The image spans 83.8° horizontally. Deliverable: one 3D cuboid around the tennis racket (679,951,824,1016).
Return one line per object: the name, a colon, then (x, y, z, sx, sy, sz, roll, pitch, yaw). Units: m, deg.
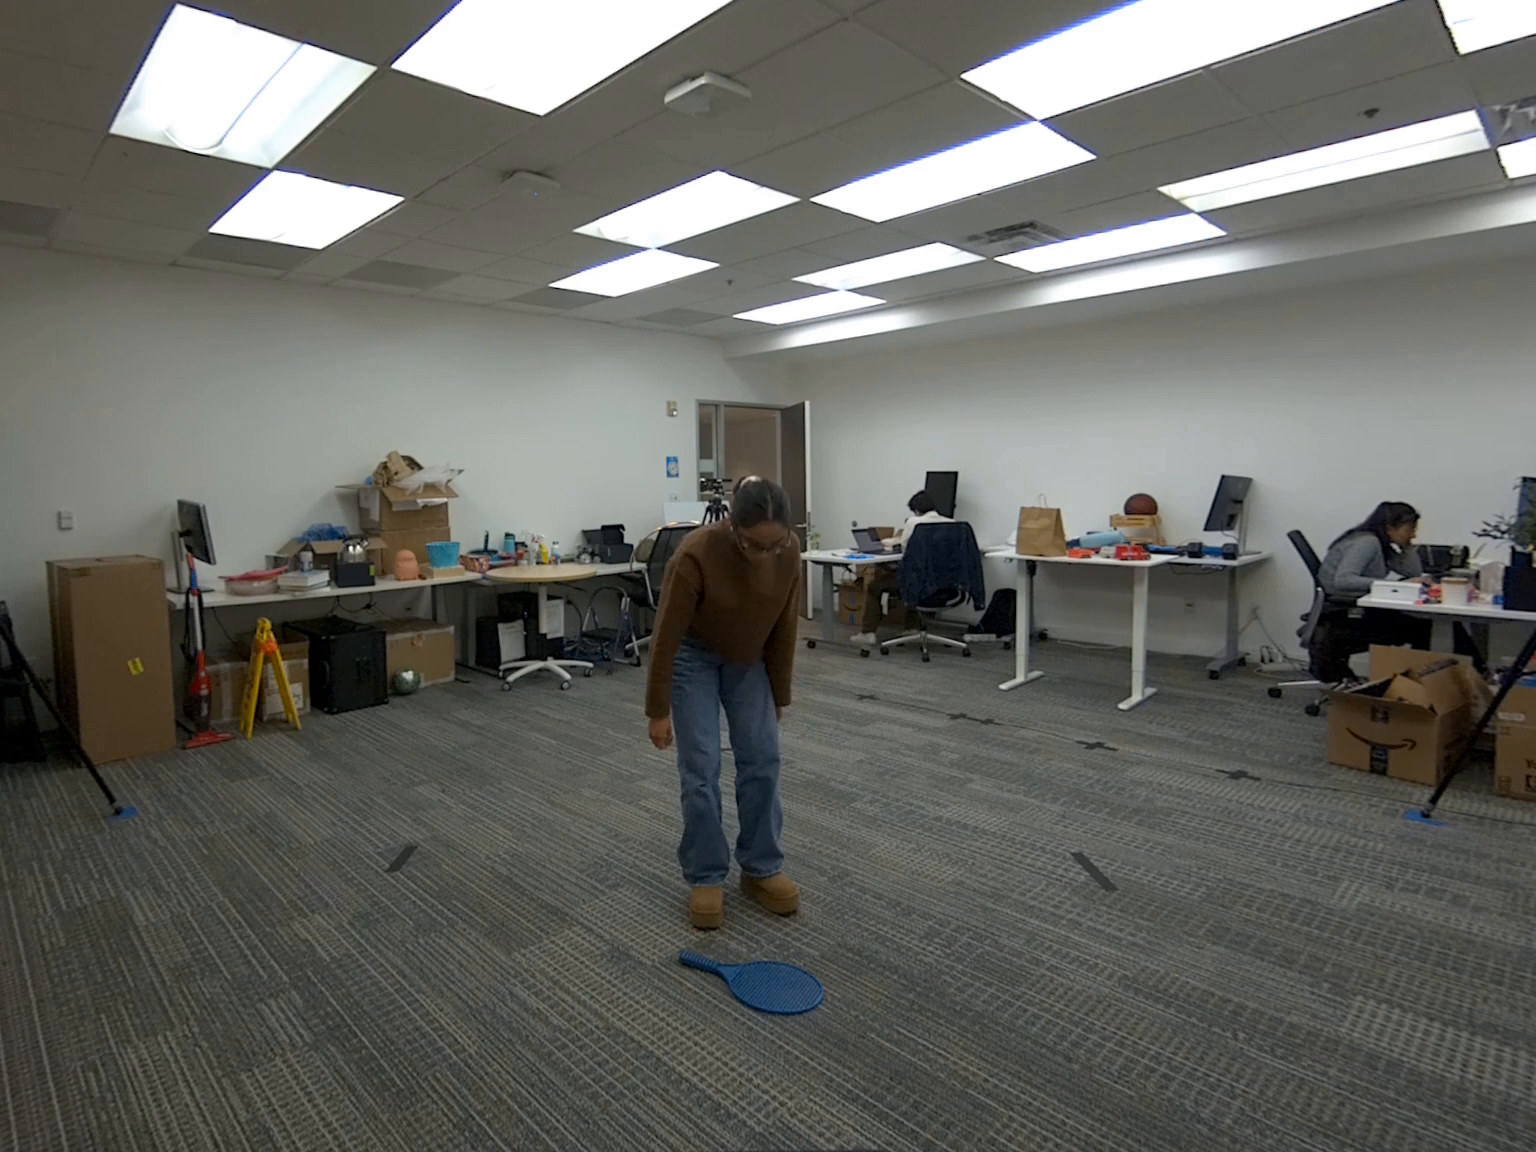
tennis racket: (-0.052, 1.120, 2.377, 0.443, 0.031, 0.210, 3, 8, 26)
